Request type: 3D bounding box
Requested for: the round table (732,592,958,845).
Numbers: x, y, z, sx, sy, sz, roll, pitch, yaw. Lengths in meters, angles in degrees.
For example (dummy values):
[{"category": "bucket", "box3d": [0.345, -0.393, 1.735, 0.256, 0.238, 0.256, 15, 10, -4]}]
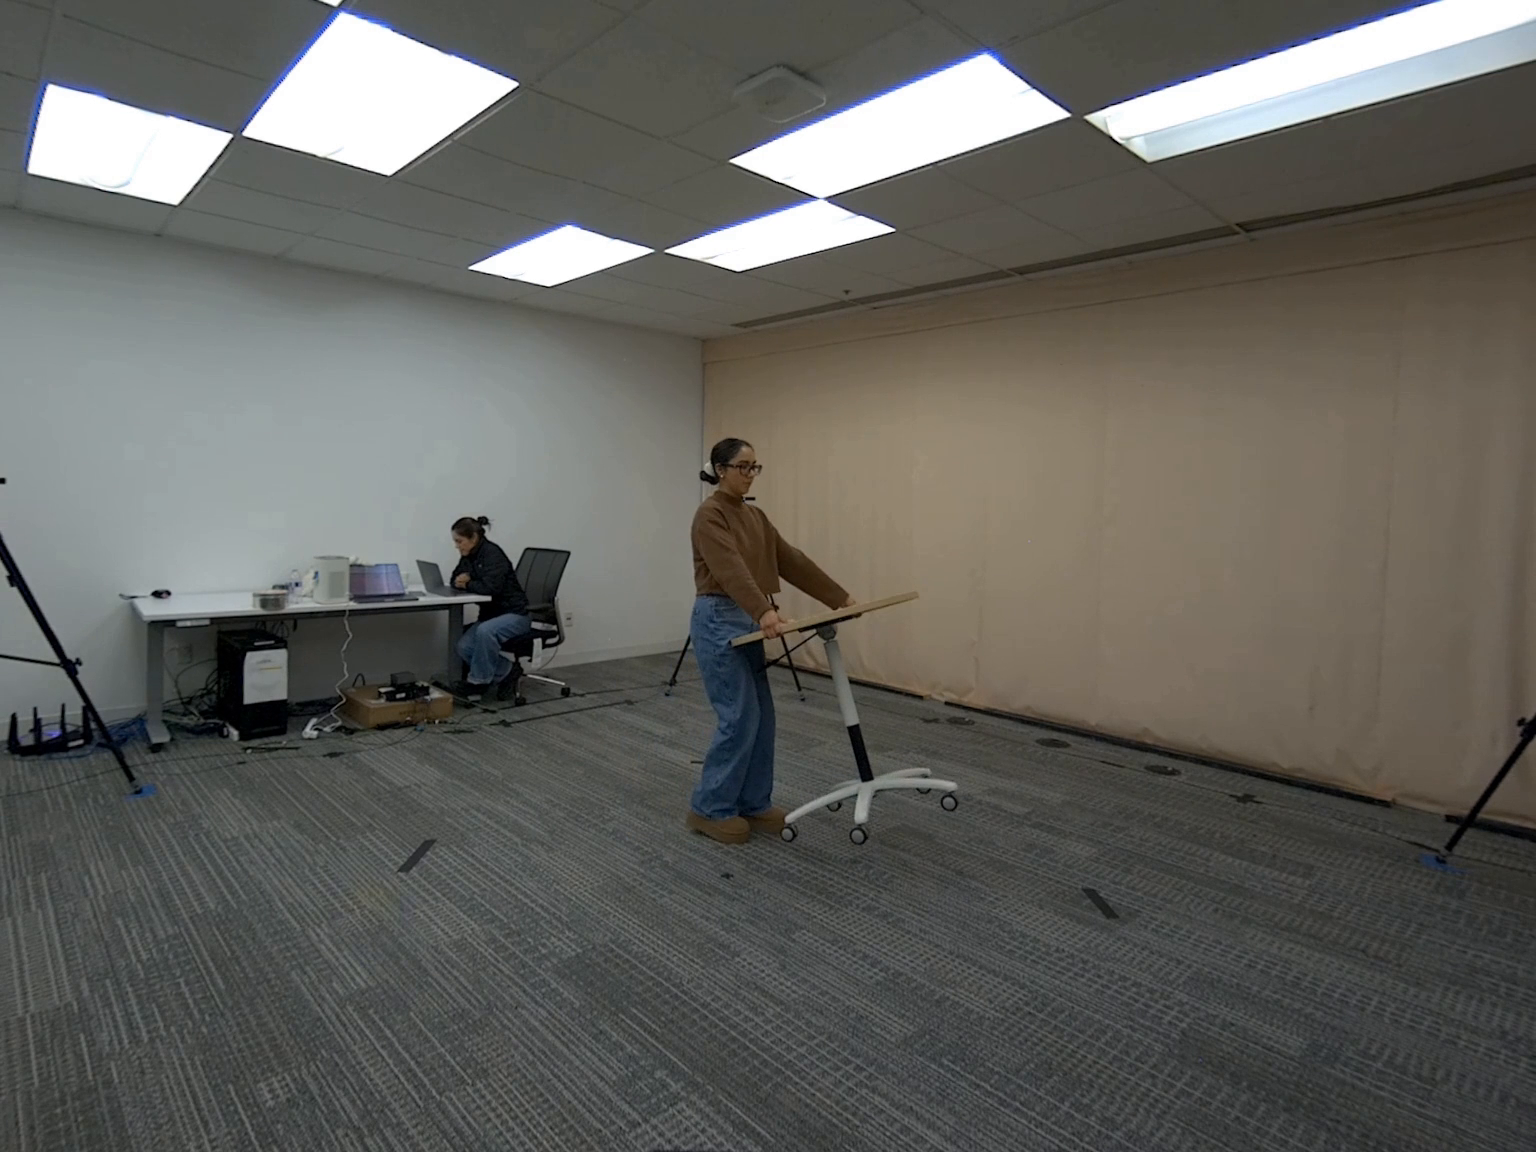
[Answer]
[{"category": "round table", "box3d": [0.328, 0.547, 3.307, 0.784, 0.790, 0.782, -14, -4, -3]}]
